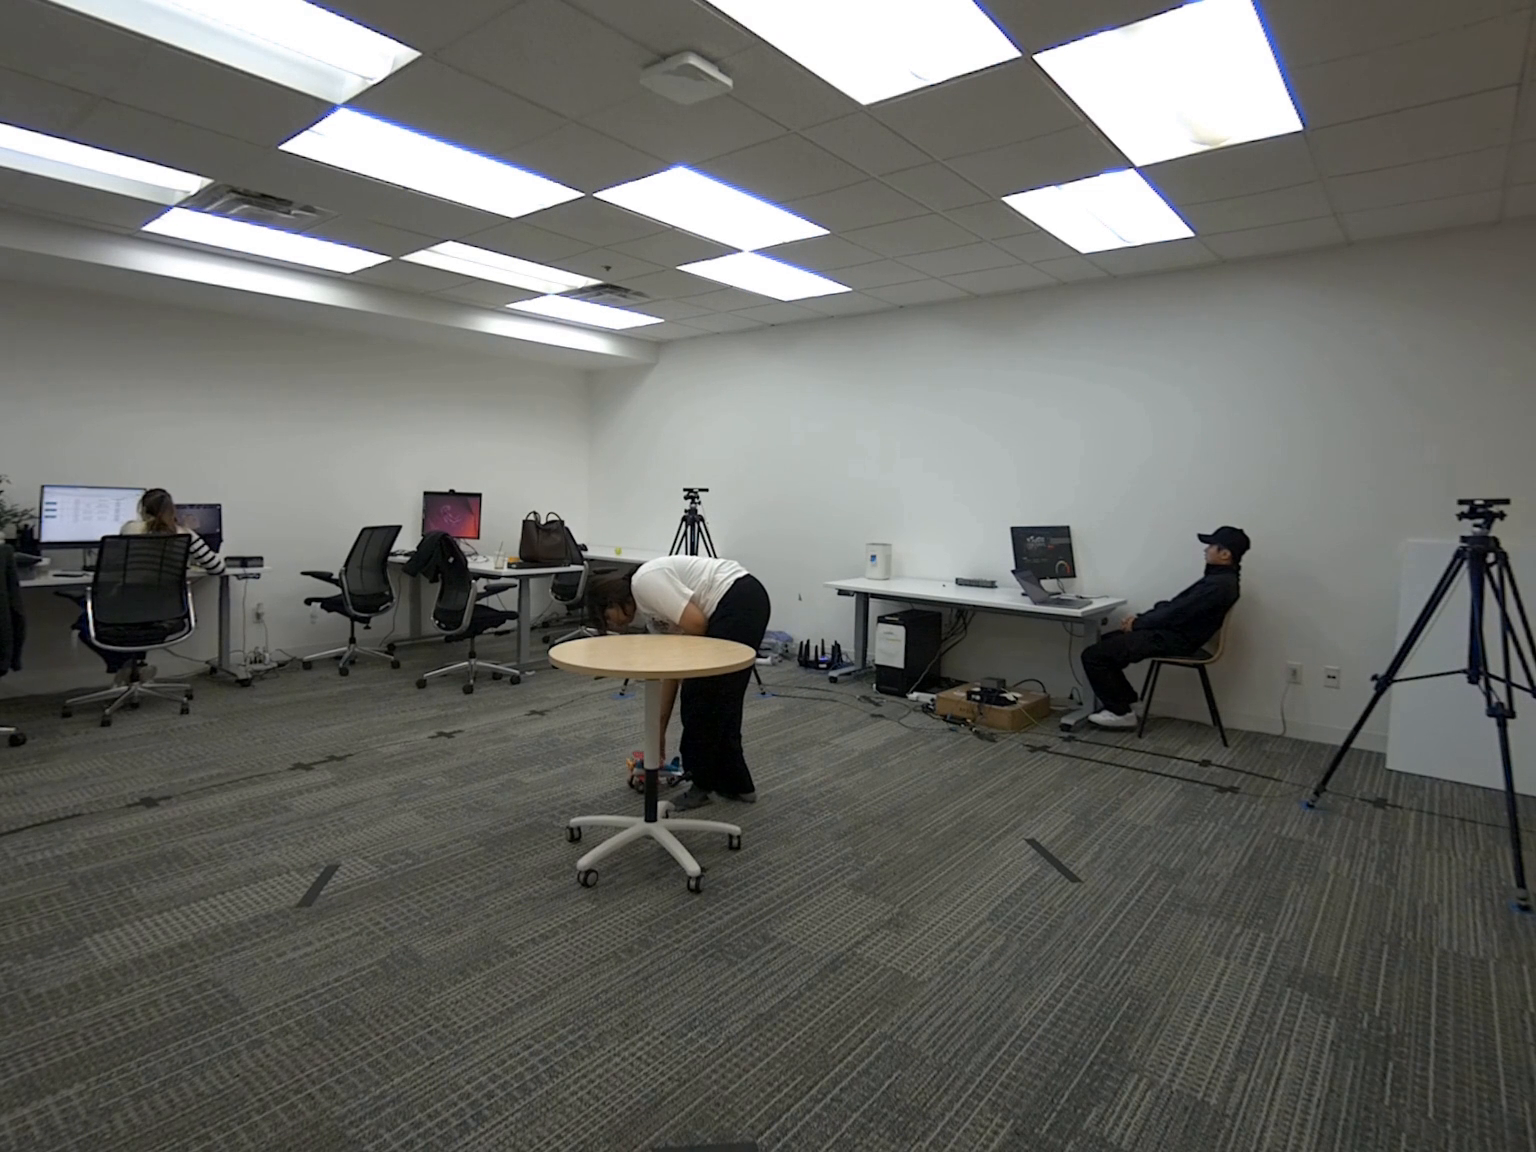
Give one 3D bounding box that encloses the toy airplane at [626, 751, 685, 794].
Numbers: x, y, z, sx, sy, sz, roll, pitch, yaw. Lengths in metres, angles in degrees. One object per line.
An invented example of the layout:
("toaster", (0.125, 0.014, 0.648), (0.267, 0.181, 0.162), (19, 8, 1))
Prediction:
("toy airplane", (-0.549, 0.907, 3.985), (0.258, 0.156, 0.252), (2, 5, 32))
